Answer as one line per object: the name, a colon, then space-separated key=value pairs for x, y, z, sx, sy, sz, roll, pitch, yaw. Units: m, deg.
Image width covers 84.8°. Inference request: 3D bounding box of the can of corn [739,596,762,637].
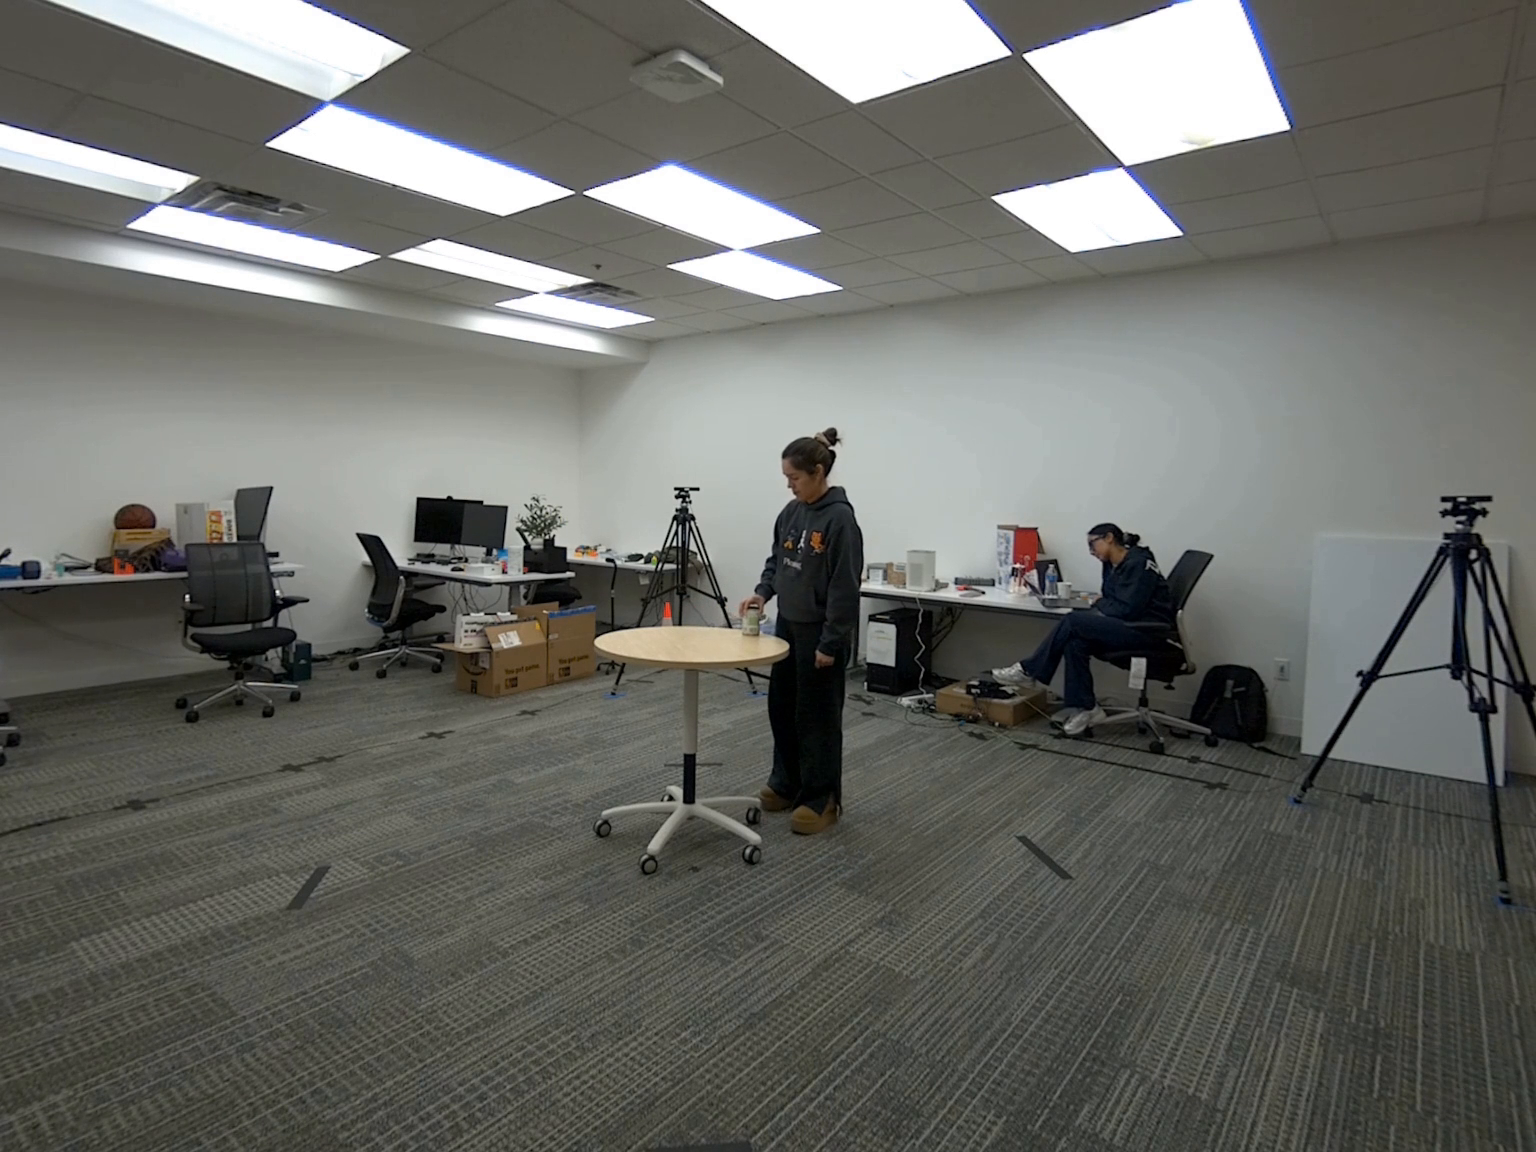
can of corn: x=-0.083 y=0.182 z=3.558 sx=0.074 sy=0.111 sz=0.074 roll=1 pitch=3 yaw=-2
